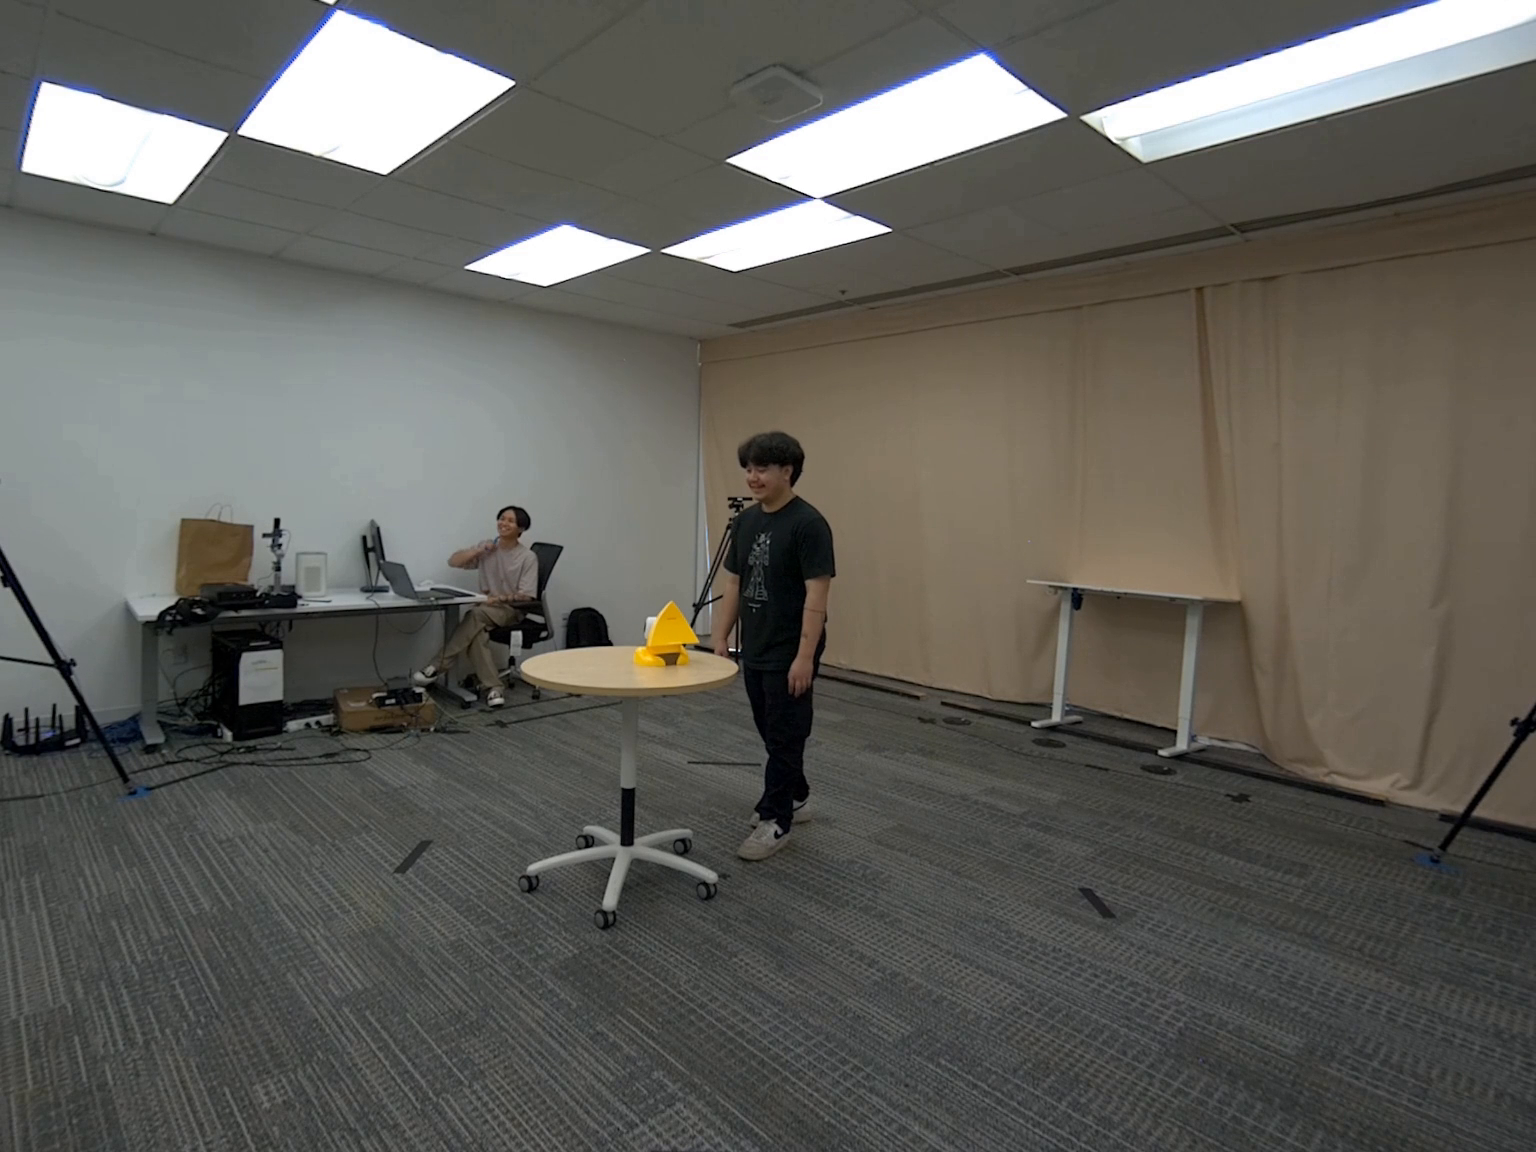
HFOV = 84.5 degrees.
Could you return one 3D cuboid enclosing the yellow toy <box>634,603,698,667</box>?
[{"bbox_3d":[-0.392,0.200,3.060,0.200,0.230,0.198,-1,4,-36],"label":"yellow toy"}]
